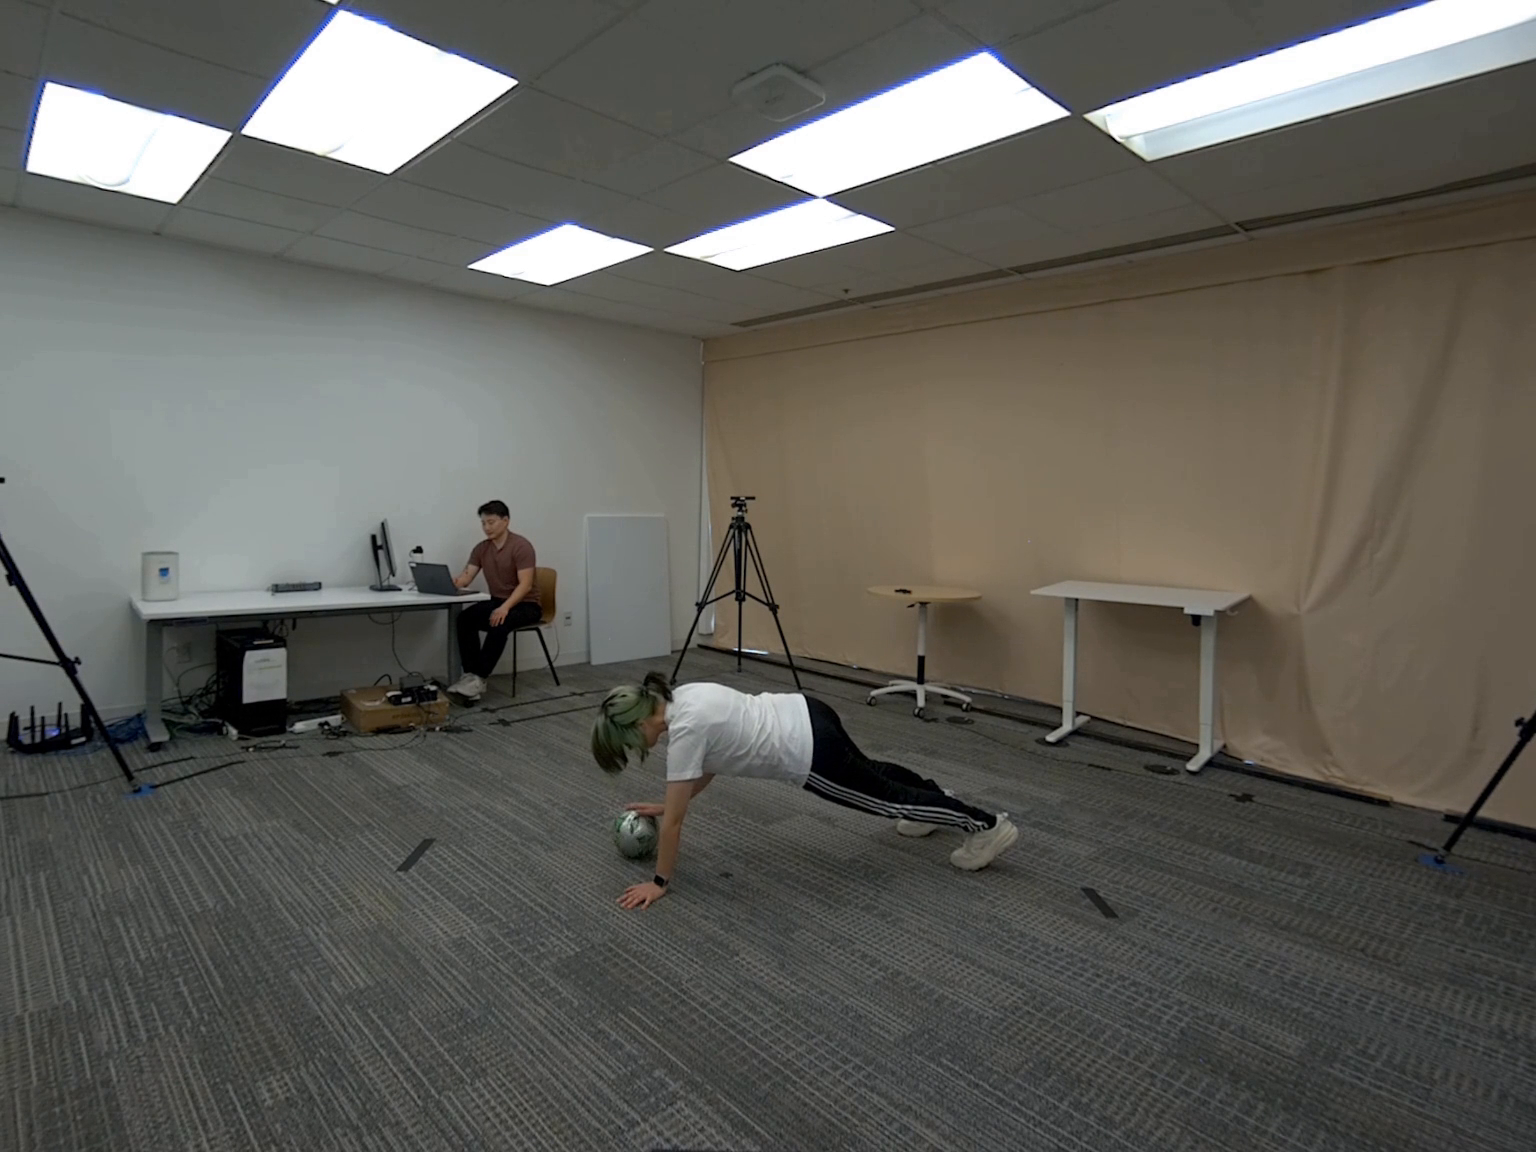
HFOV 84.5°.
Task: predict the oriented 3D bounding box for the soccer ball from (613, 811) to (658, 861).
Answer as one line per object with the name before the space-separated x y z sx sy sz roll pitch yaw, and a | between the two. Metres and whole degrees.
soccer ball | -0.514 0.986 3.250 0.187 0.187 0.188 1 4 -1
